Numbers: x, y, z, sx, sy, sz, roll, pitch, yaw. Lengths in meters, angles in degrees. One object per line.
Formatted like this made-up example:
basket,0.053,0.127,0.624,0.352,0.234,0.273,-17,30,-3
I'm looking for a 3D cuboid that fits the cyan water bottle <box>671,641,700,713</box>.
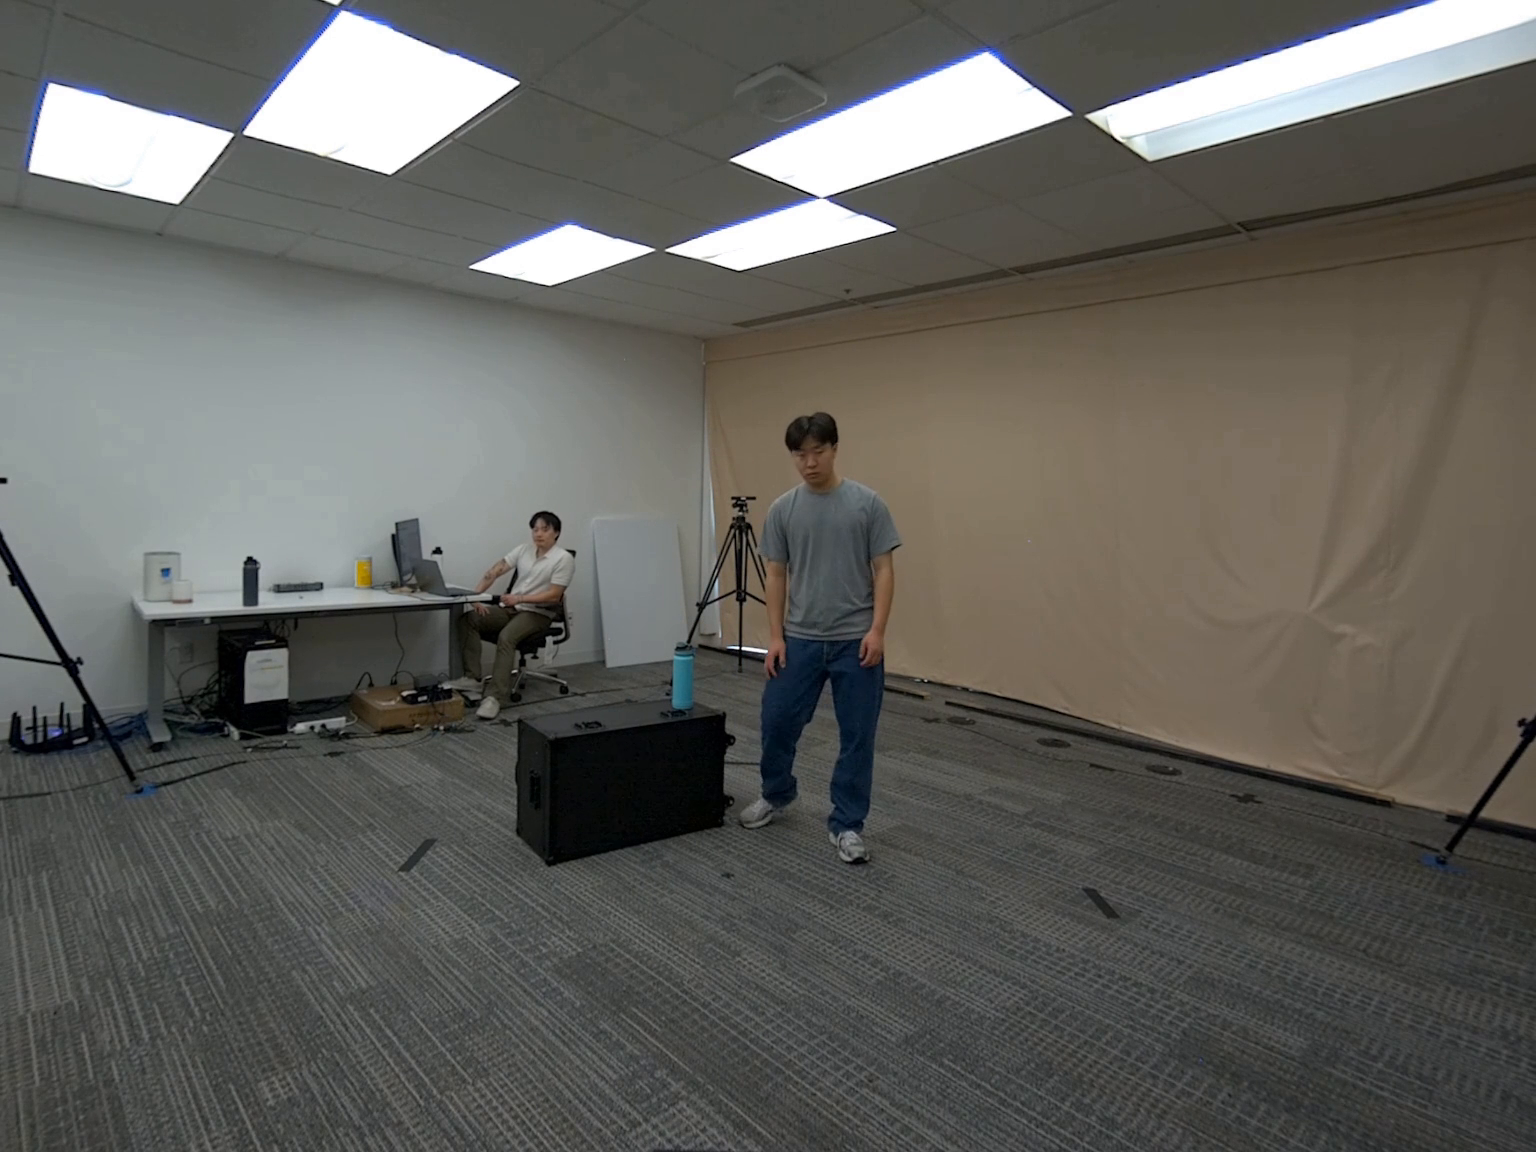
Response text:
cyan water bottle,-0.358,0.434,3.652,0.092,0.283,0.092,4,3,-2
